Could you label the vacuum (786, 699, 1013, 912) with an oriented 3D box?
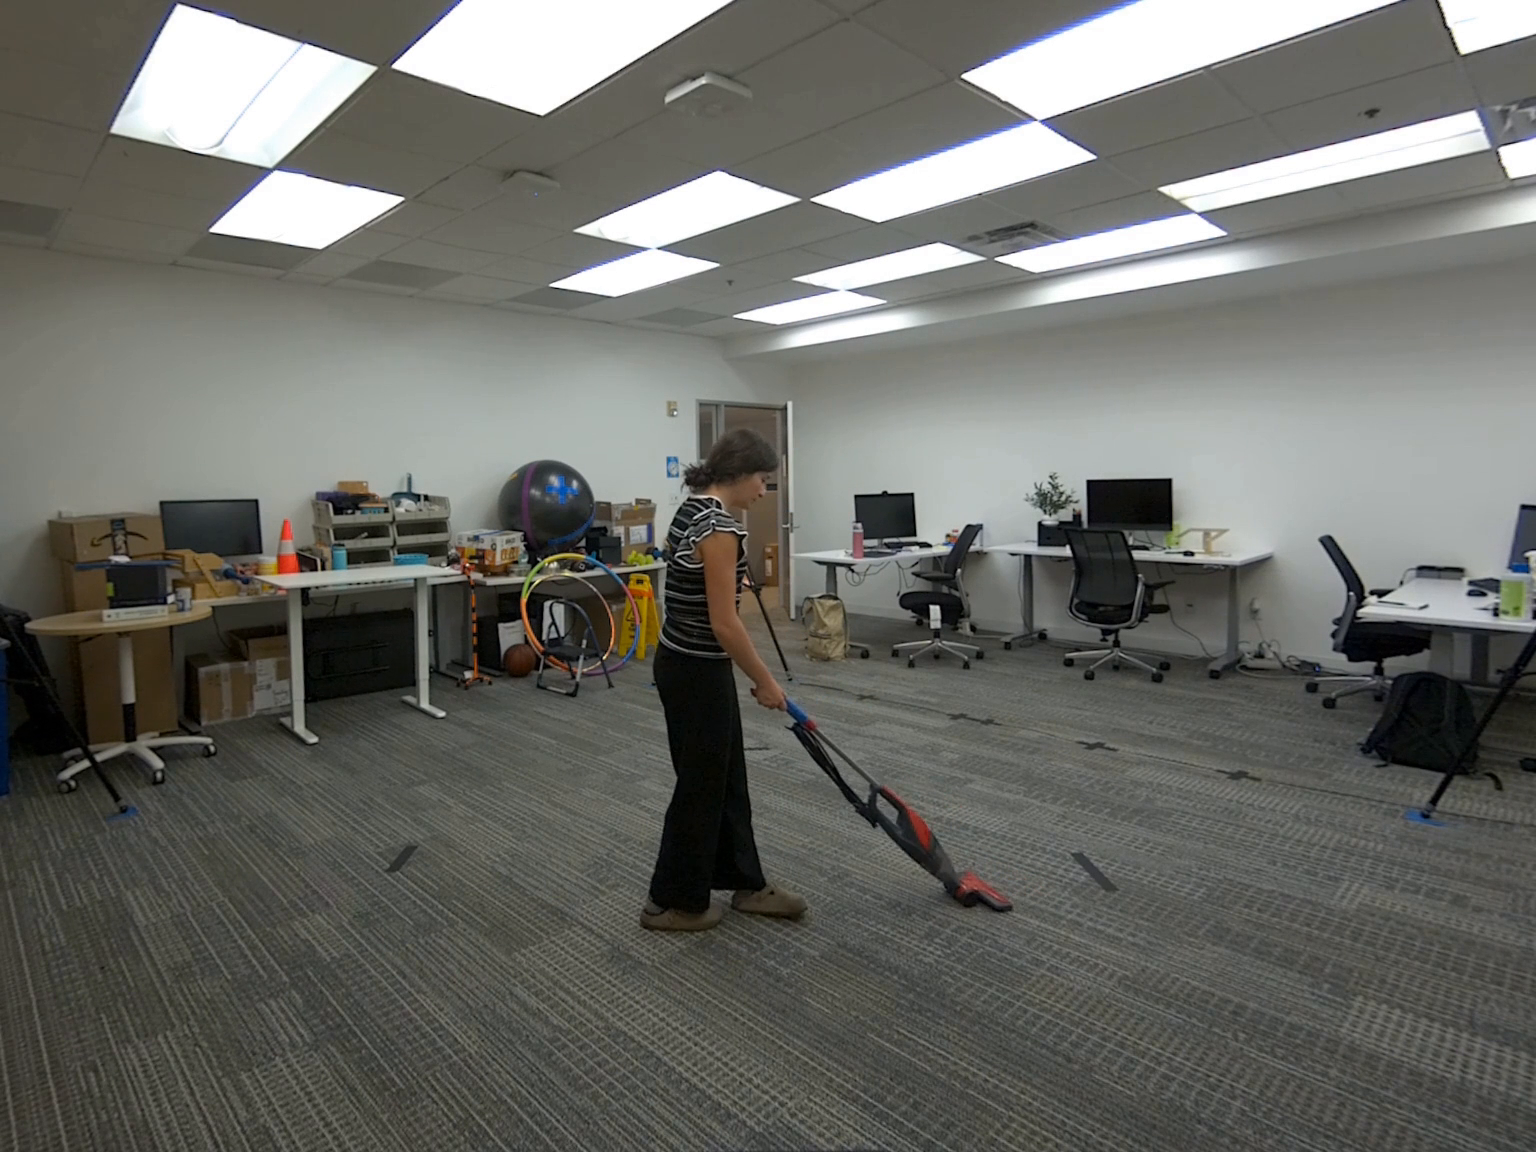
[{"bbox_3d":[0.330,0.709,2.718,1.031,0.144,0.257,43,-14,-13],"label":"vacuum"}]
